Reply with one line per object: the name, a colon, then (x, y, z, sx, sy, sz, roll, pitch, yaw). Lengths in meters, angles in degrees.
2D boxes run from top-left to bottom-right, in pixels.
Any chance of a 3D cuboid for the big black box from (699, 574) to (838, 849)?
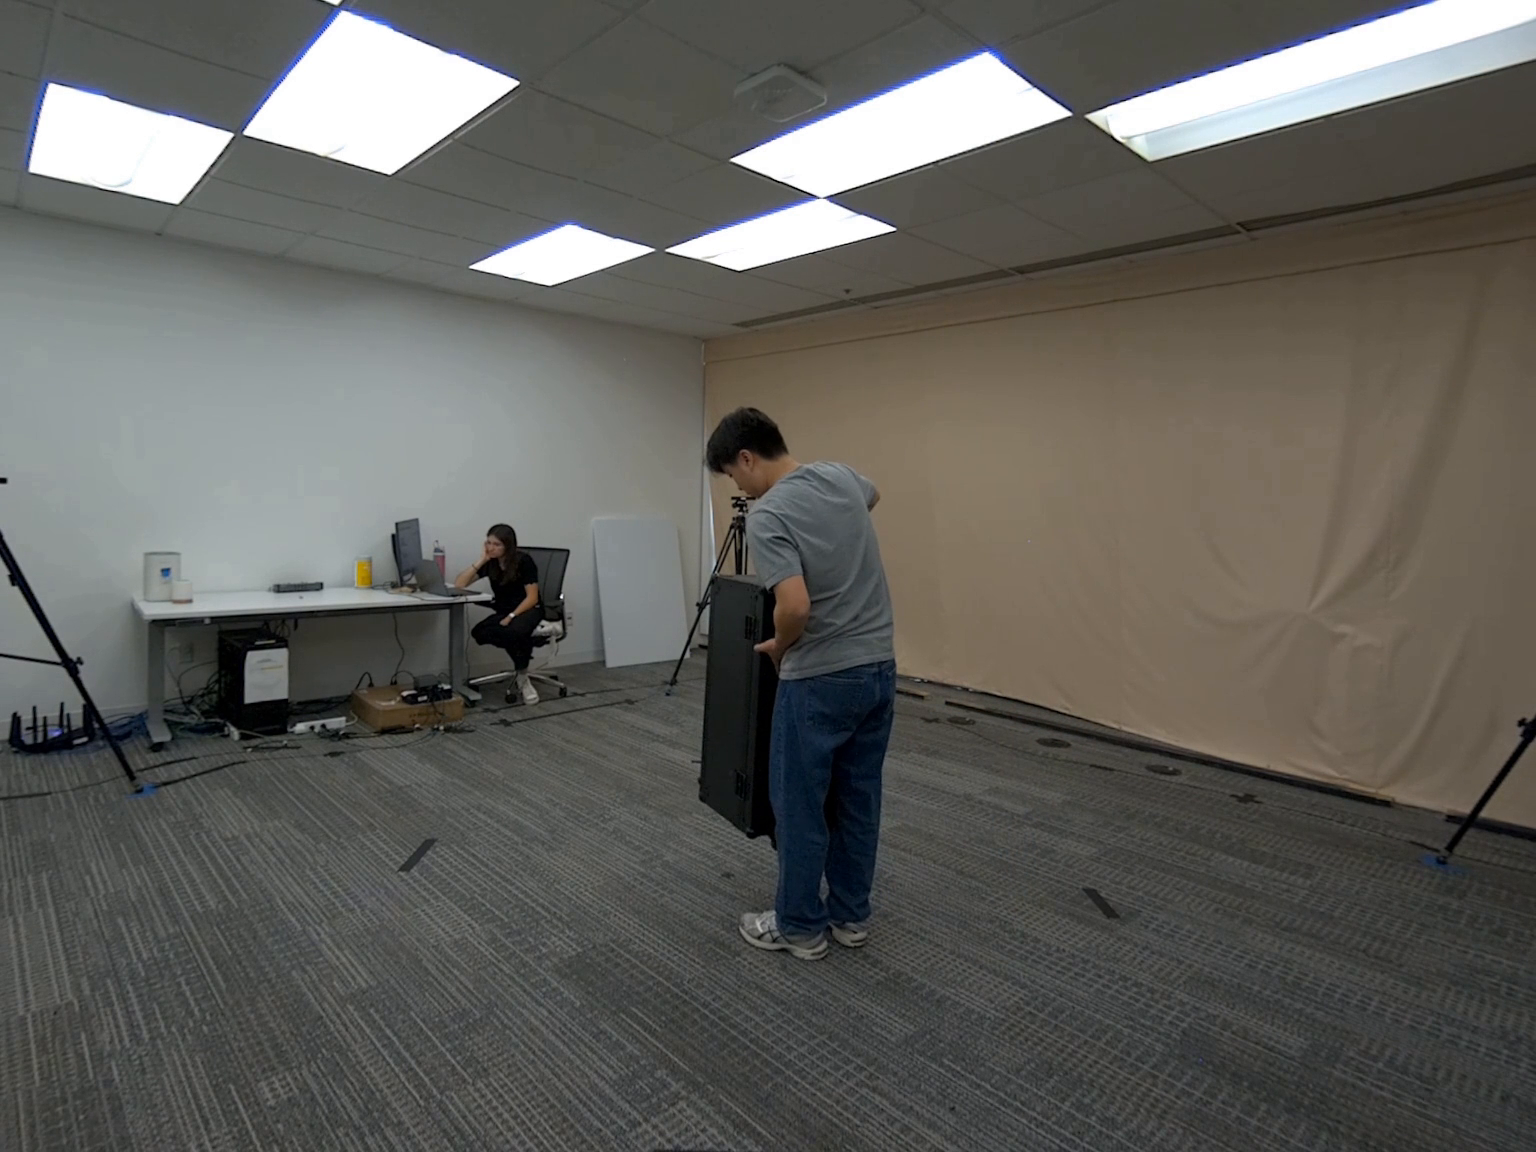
big black box: (0.072, 0.377, 2.853, 0.510, 0.859, 0.405, 1, 4, -30)
